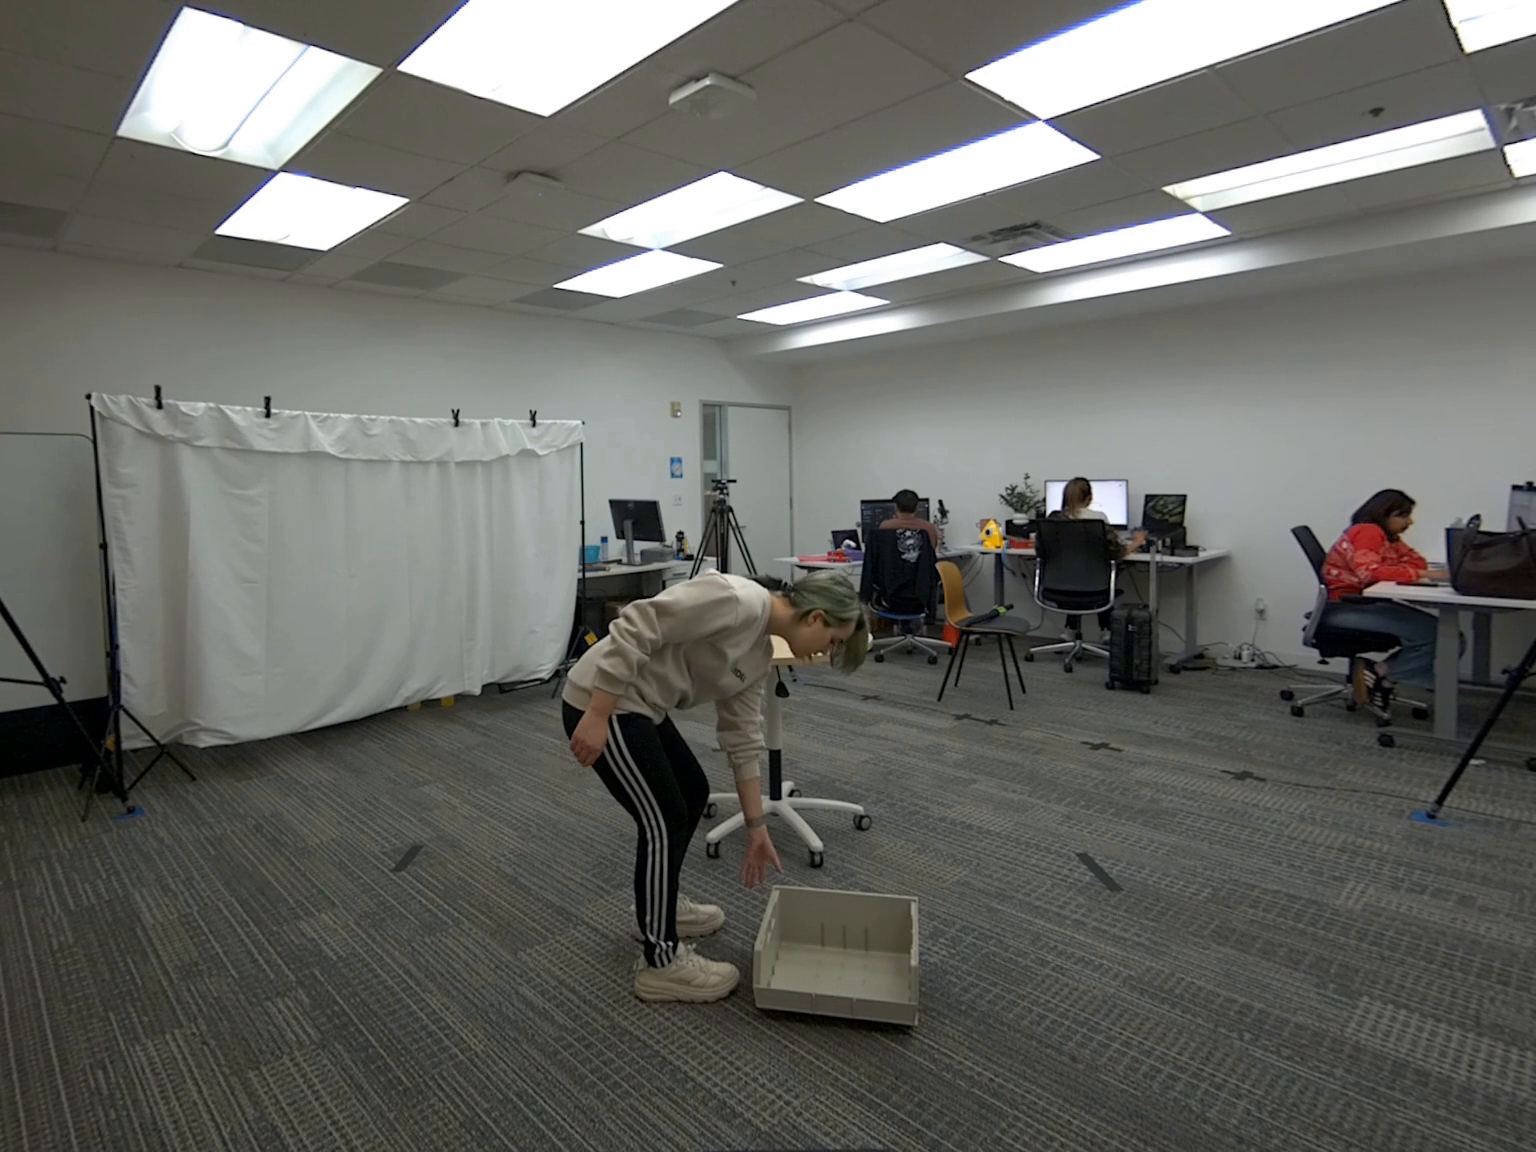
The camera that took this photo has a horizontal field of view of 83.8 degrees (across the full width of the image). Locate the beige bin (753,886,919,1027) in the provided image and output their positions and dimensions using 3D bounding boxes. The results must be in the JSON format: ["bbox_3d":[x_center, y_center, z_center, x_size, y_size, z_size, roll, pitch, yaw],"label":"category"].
[{"bbox_3d":[0.206,1.040,2.339,0.427,0.188,0.374,-1,5,12],"label":"beige bin"}]
